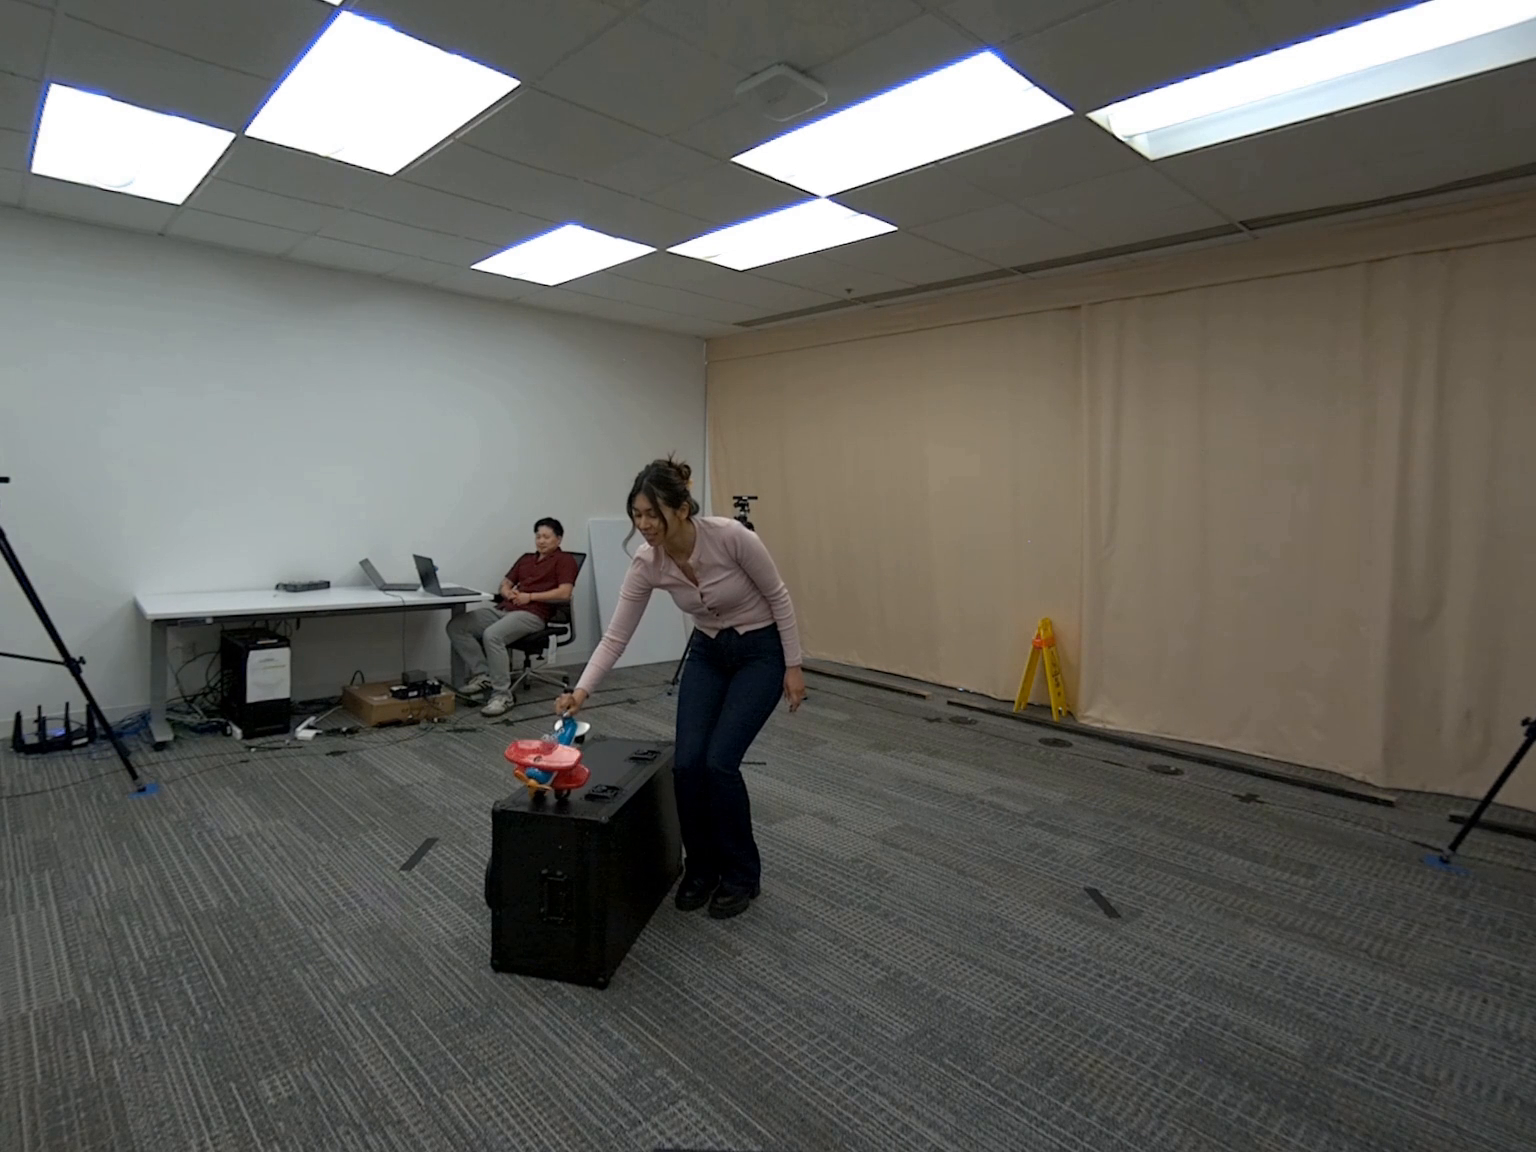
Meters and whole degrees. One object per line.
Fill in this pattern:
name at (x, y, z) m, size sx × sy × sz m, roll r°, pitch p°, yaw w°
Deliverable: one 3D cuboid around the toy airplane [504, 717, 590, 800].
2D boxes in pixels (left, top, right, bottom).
toy airplane at (-0.661, 0.542, 2.530) m, size 0.252 × 0.152 × 0.266 m, roll -19°, pitch 46°, yaw 4°
